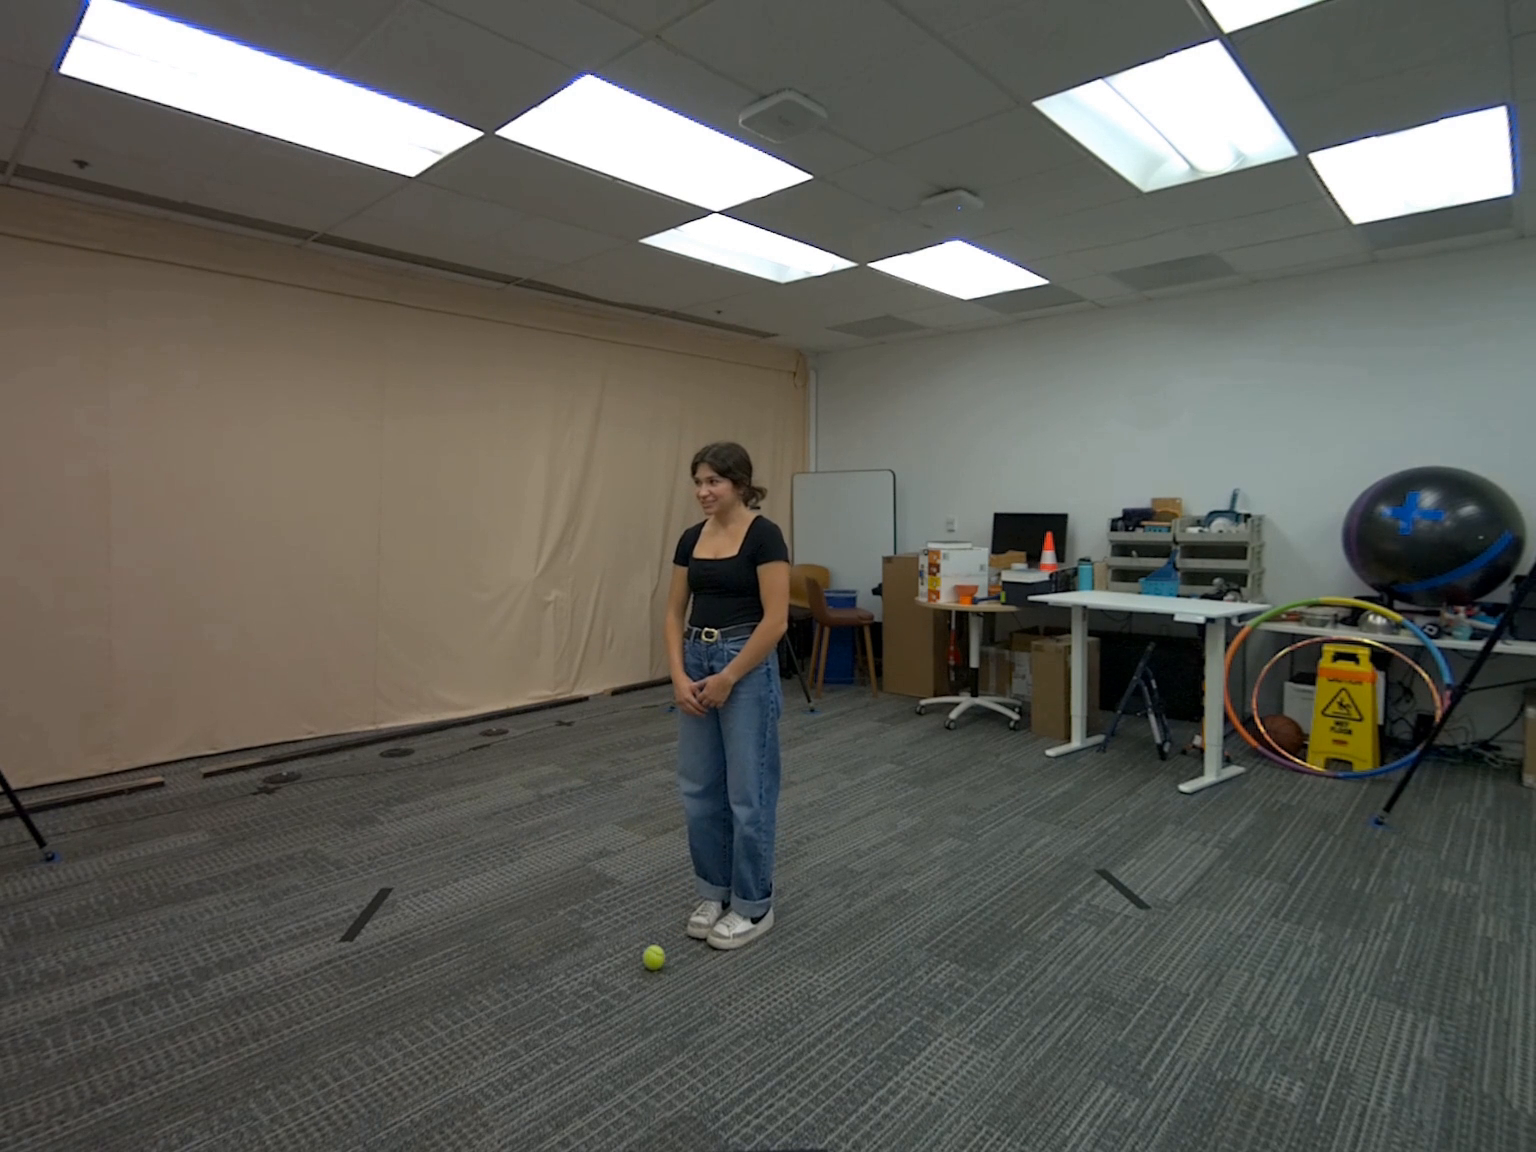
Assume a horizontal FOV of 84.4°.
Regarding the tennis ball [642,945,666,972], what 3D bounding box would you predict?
[{"bbox_3d":[-0.339,1.140,2.521,0.066,0.066,0.067,0,4,-2],"label":"tennis ball"}]
